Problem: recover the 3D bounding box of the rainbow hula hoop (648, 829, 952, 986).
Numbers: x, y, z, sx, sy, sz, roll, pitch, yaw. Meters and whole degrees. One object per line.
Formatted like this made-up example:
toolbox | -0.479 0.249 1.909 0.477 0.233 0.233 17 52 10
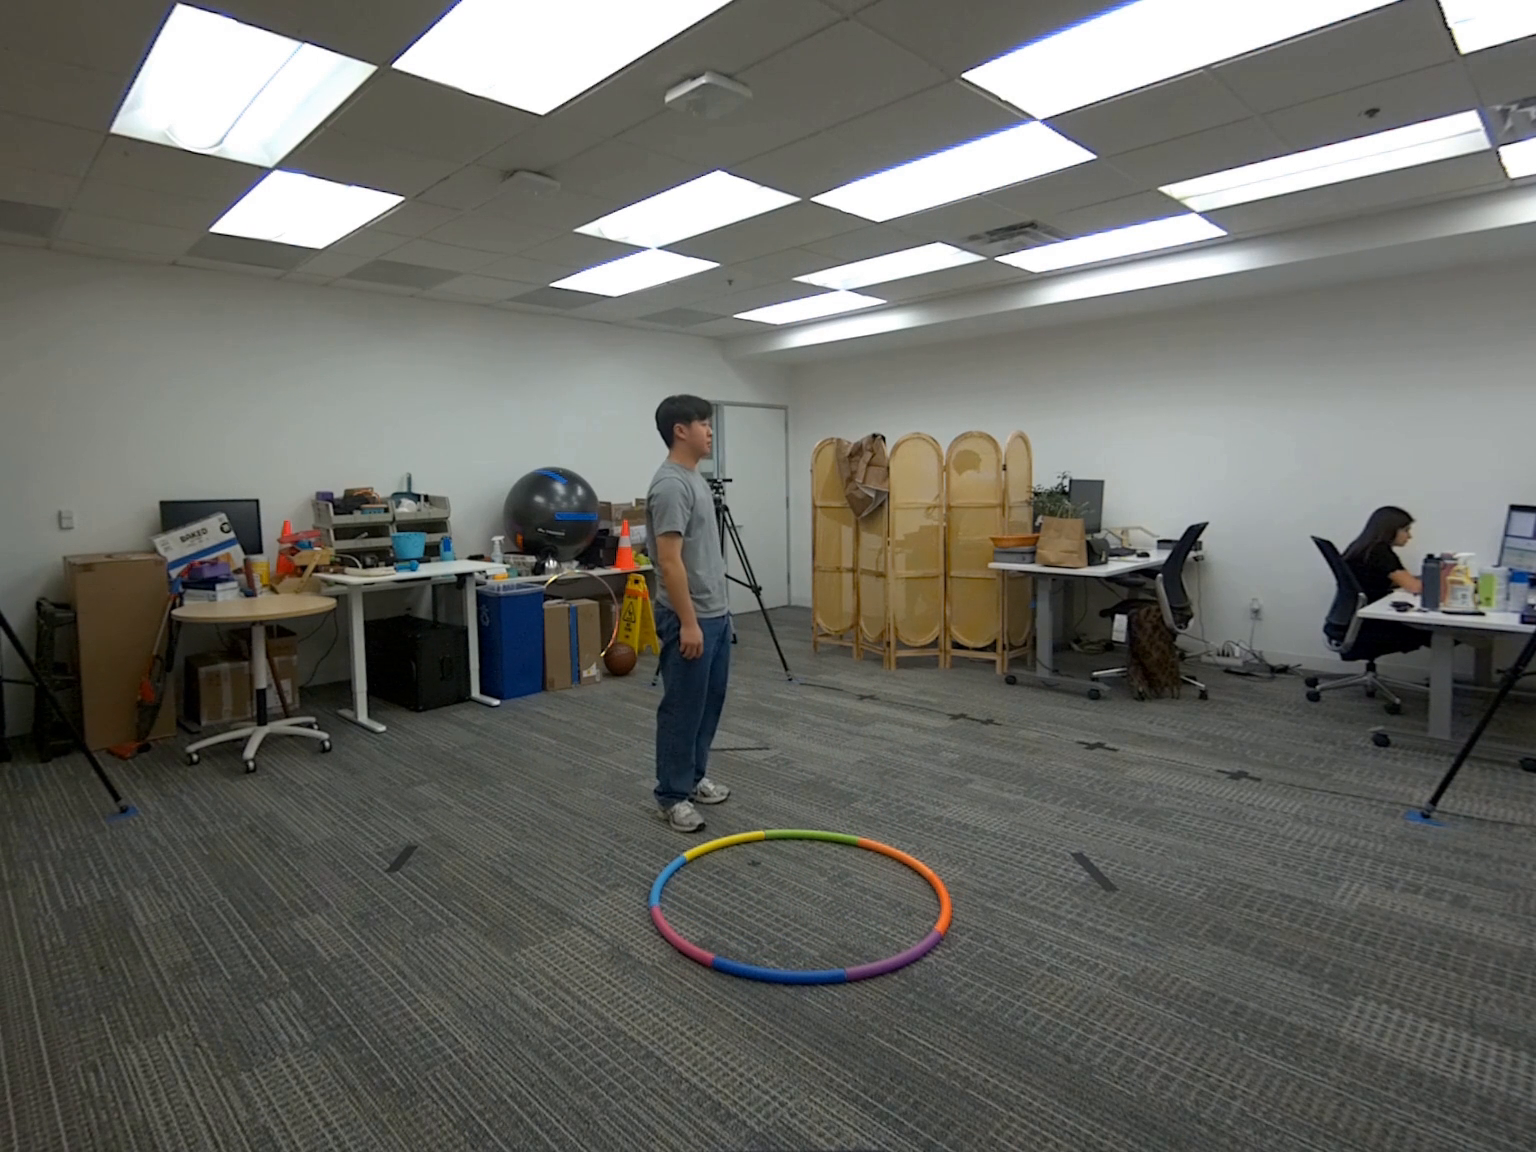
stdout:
rainbow hula hoop | 0.095 1.044 2.837 0.978 0.035 0.984 -2 7 -2
